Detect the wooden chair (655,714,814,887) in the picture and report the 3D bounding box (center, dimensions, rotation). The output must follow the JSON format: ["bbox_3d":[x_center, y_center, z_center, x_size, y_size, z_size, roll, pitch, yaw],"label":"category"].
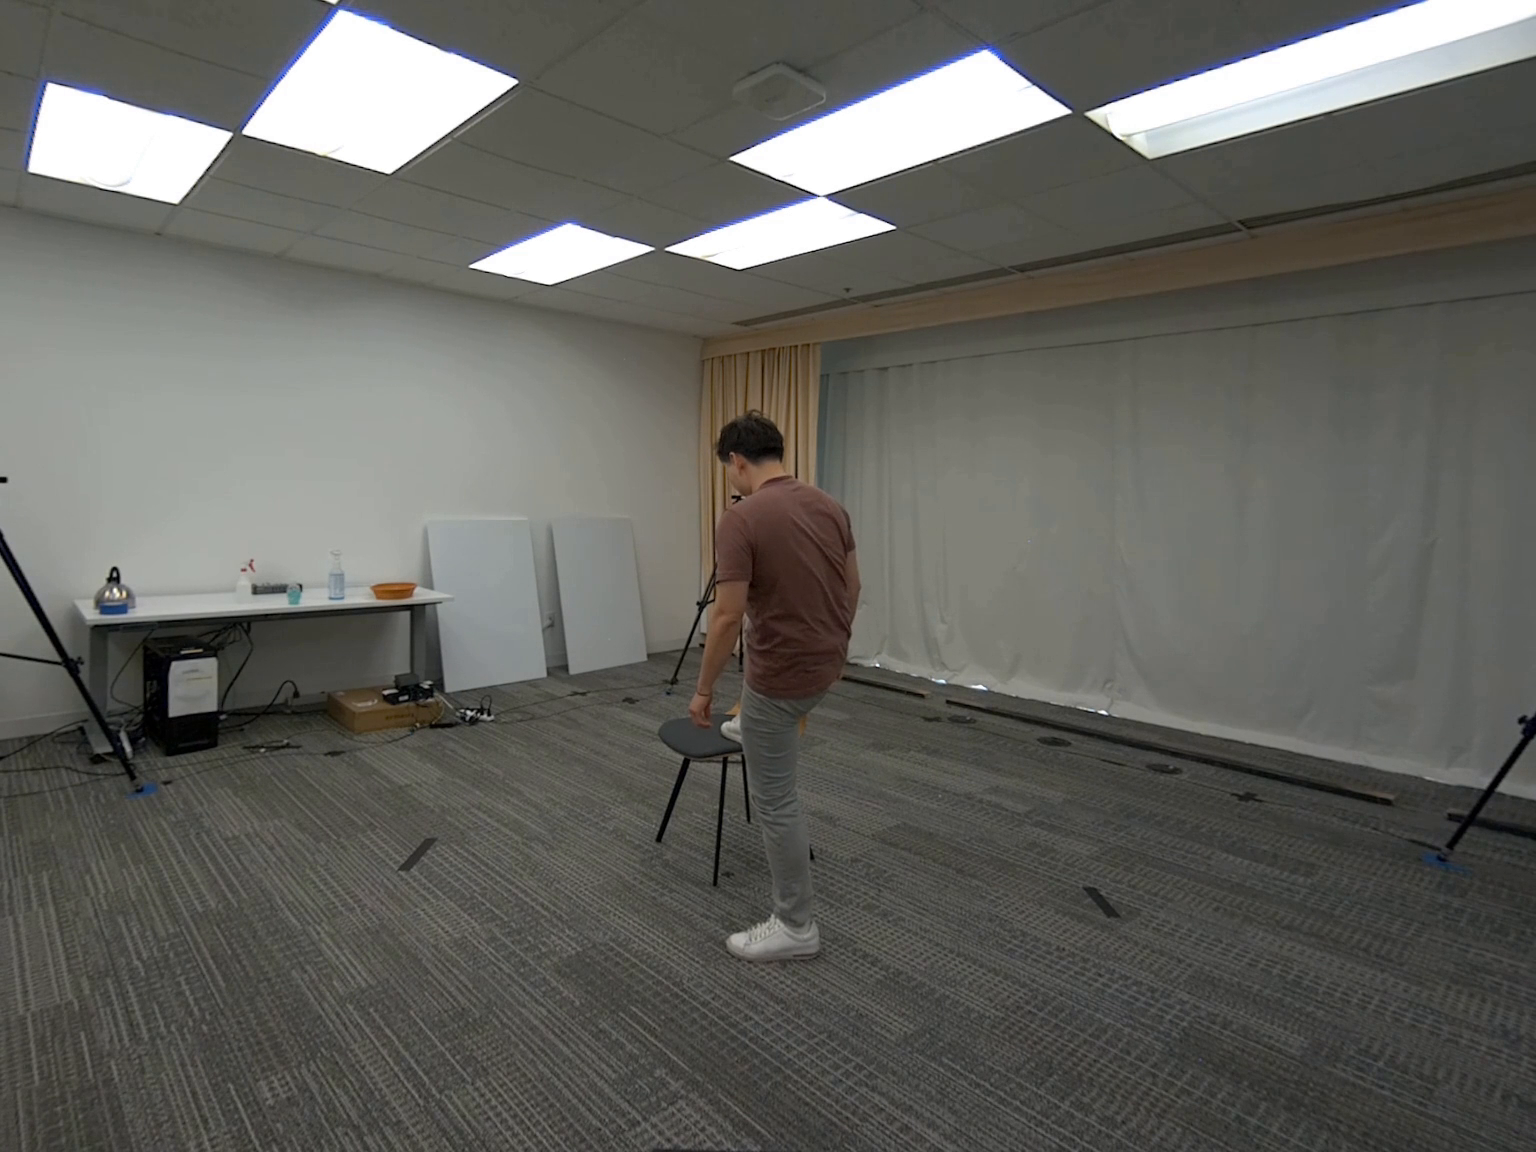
[{"bbox_3d":[-0.138,0.662,3.279,0.511,0.877,0.490,4,1,-35],"label":"wooden chair"}]
